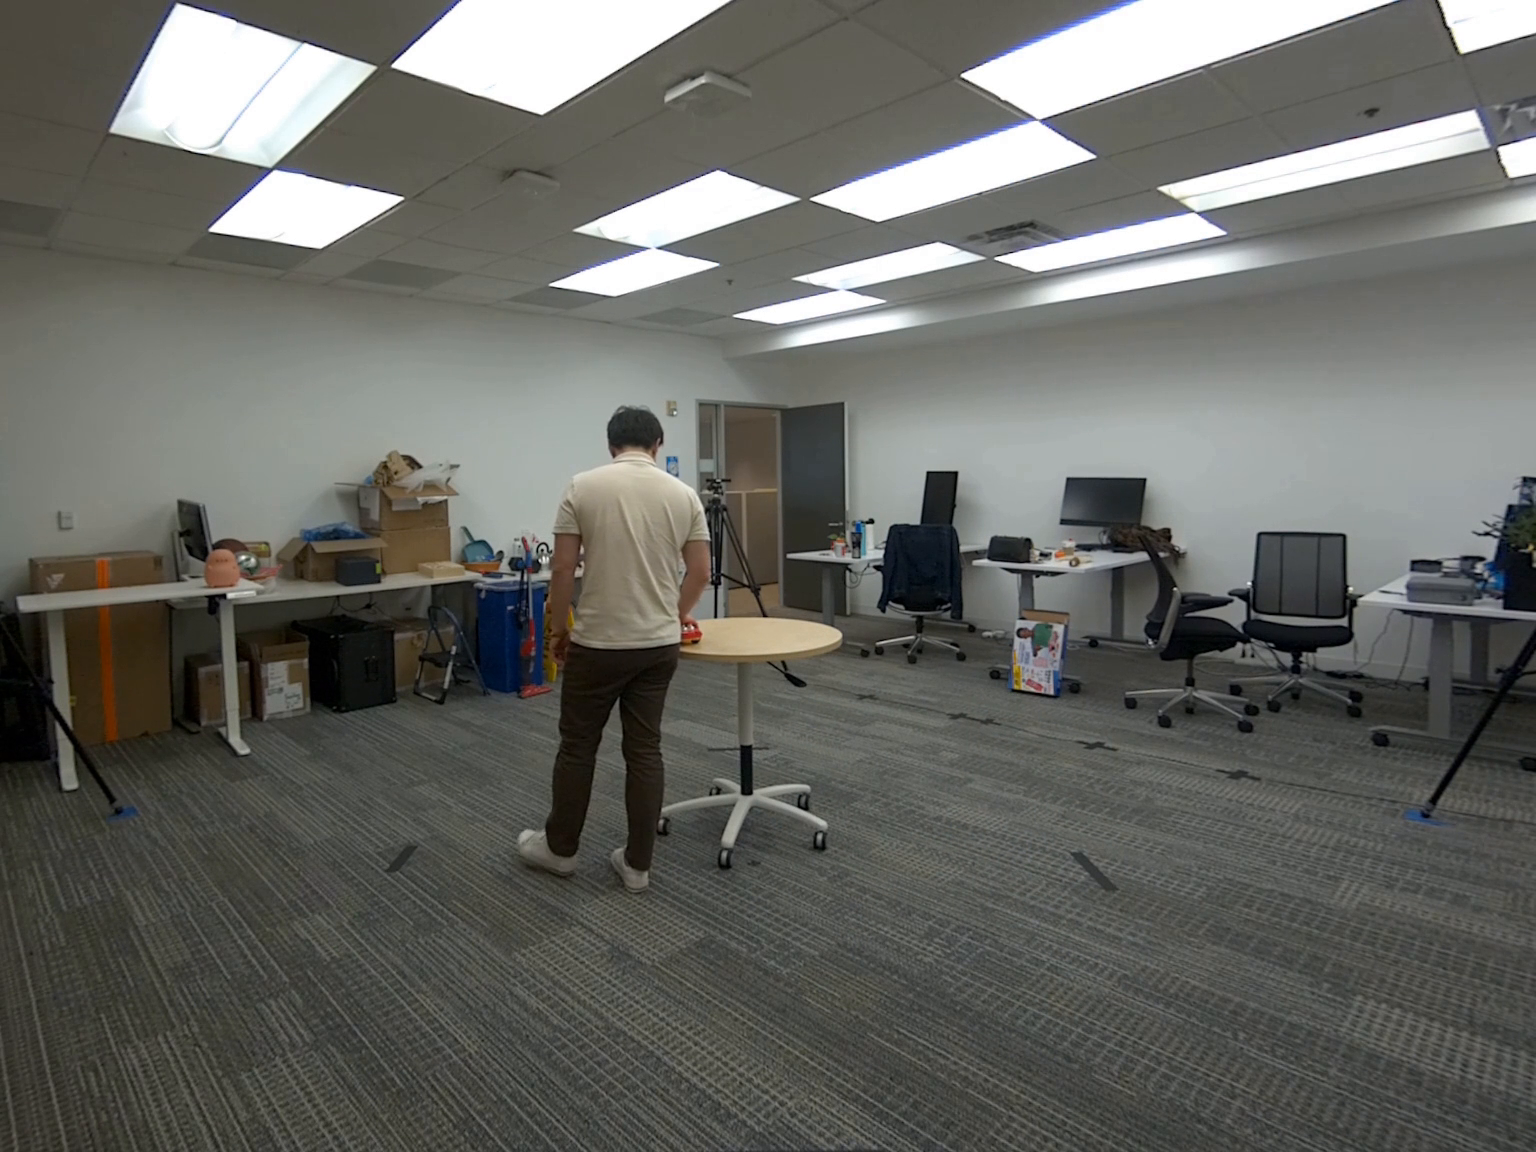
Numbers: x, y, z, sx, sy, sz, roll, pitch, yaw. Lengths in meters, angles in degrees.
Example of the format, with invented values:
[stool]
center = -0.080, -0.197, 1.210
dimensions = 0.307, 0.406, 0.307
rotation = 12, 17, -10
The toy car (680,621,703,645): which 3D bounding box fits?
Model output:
[toy car]
center = -0.334, 0.220, 3.242
dimensions = 0.127, 0.083, 0.259
rotation = -3, -4, -29
